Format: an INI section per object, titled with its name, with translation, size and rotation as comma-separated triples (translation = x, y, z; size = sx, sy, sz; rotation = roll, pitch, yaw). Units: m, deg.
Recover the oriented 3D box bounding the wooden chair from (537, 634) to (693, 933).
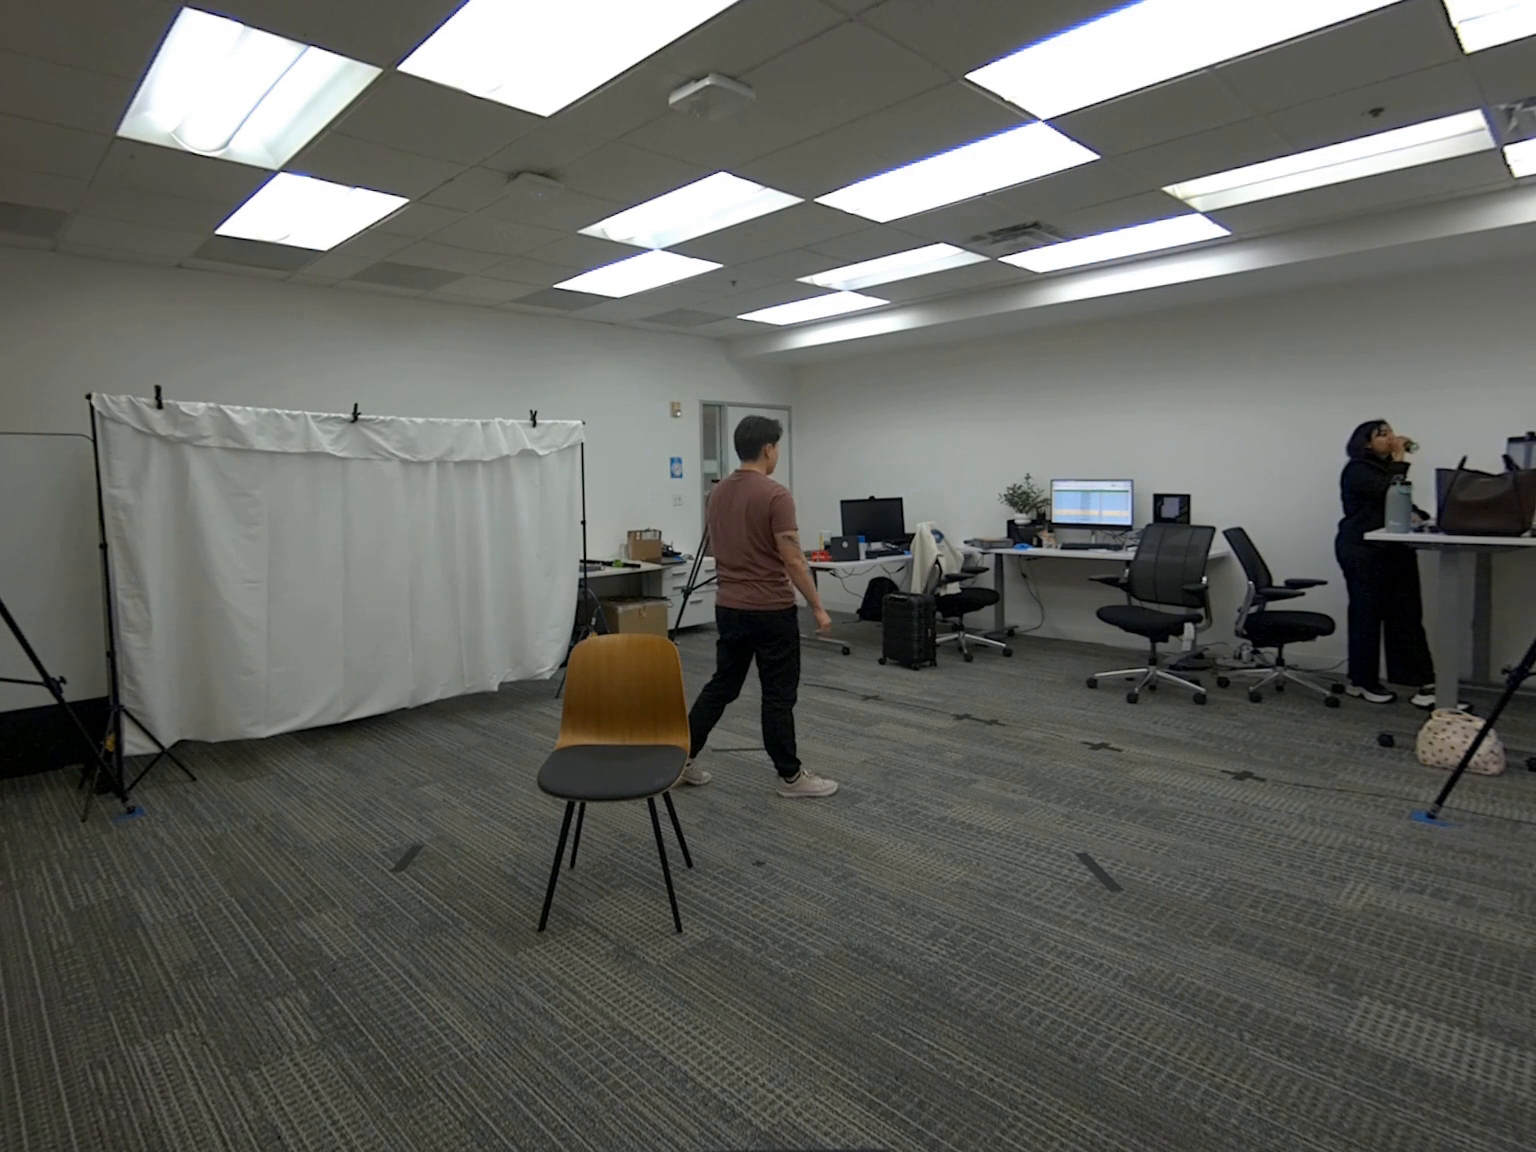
[wooden chair]
translation = -0.497, 0.660, 2.836
size = 0.479, 0.877, 0.522
rotation = 0, 0, 1
